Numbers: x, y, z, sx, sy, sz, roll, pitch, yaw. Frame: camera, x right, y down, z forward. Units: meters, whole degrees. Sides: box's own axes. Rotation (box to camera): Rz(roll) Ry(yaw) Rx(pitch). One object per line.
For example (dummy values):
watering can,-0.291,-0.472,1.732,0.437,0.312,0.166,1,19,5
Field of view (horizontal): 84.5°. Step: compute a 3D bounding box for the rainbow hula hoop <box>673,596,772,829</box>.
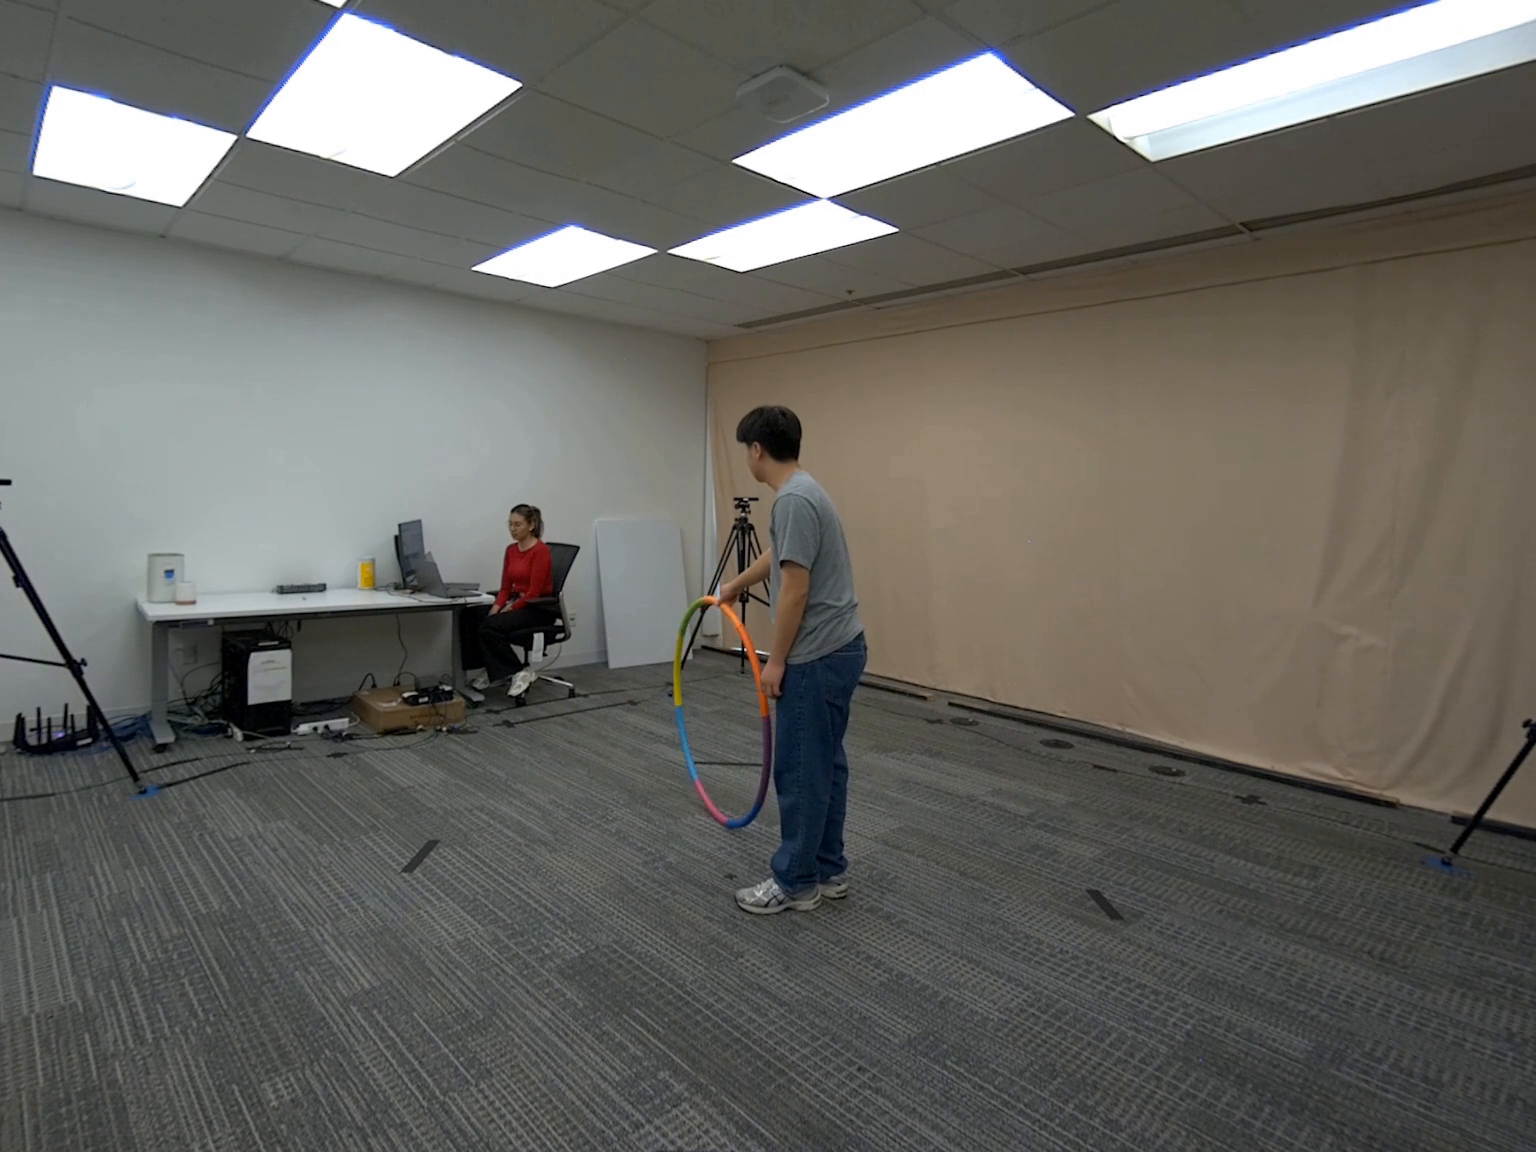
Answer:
rainbow hula hoop,-0.235,0.573,3.610,0.035,0.975,0.999,-4,6,-26
